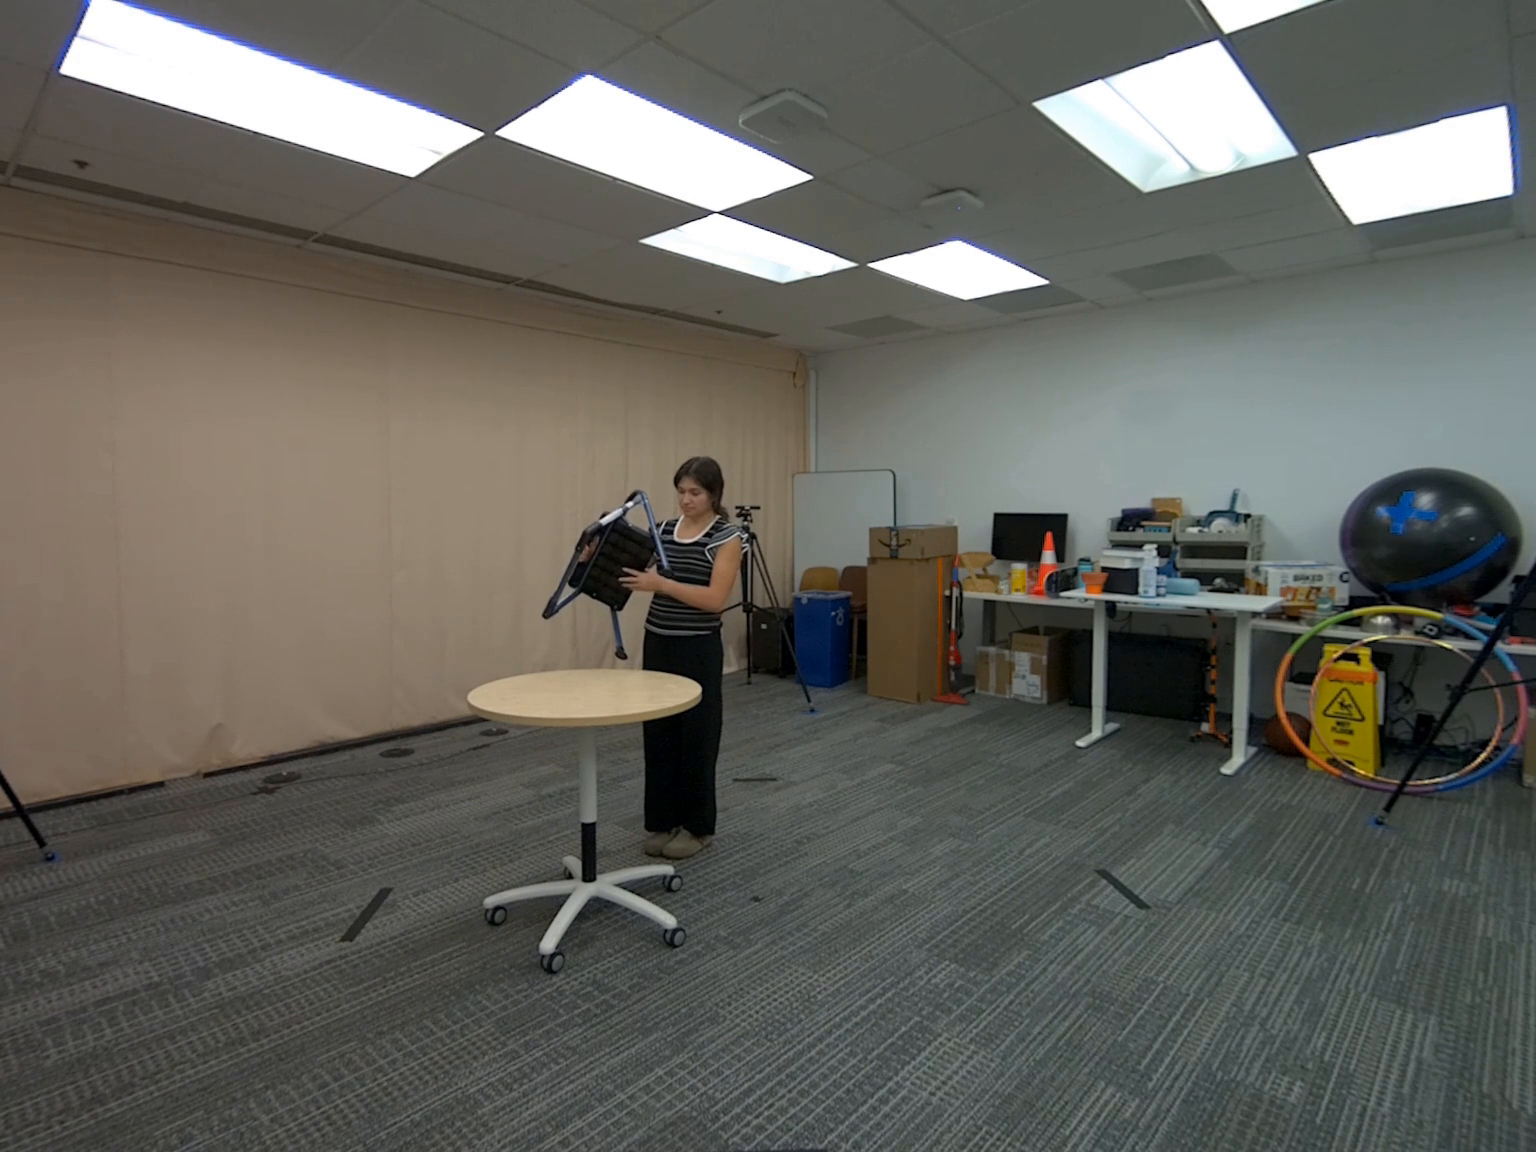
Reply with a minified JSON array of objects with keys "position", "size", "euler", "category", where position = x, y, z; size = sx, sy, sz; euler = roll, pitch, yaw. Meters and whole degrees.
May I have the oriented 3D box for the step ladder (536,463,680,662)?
[{"position":[-0.566,-0.072,3.273],"size":[0.346,0.431,0.612],"euler":[27,27,-9],"category":"step ladder"}]
